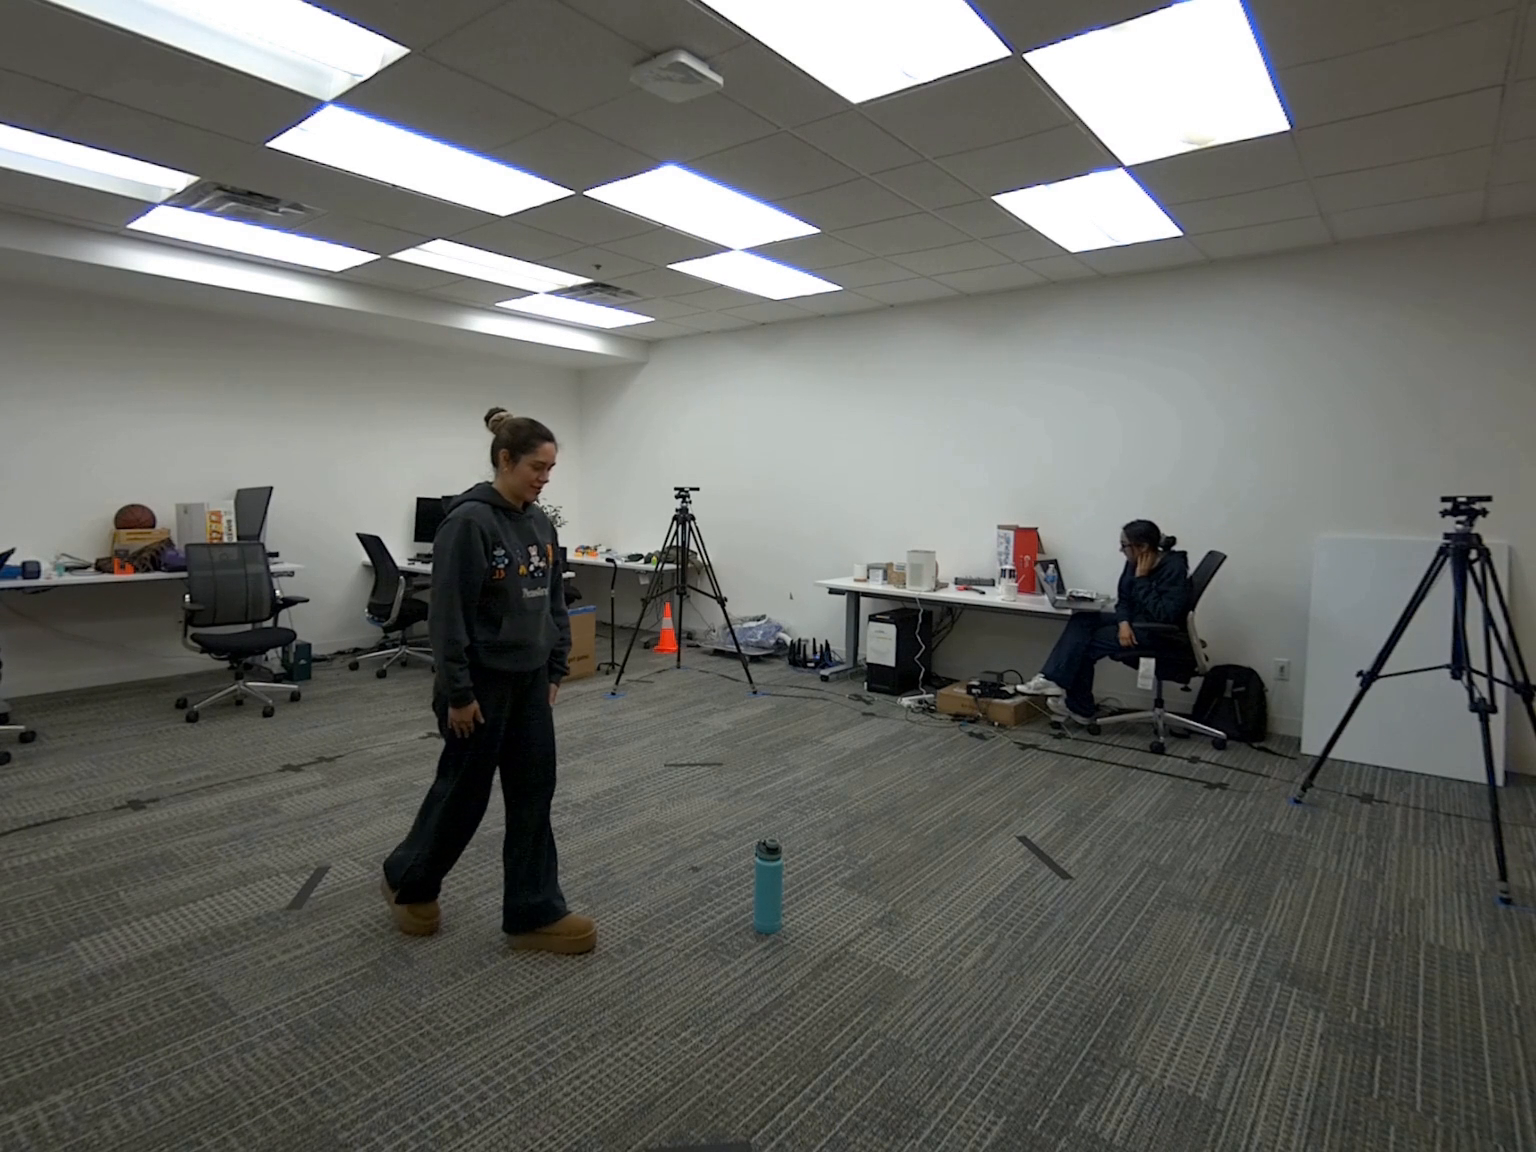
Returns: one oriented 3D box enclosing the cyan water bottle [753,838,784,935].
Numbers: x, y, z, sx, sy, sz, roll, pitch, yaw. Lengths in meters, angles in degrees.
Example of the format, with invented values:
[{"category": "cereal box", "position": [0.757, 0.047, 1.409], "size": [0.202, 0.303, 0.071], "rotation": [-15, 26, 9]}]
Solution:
[{"category": "cyan water bottle", "position": [0.006, 0.975, 2.689], "size": [0.092, 0.283, 0.092], "rotation": [1, 2, -2]}]
